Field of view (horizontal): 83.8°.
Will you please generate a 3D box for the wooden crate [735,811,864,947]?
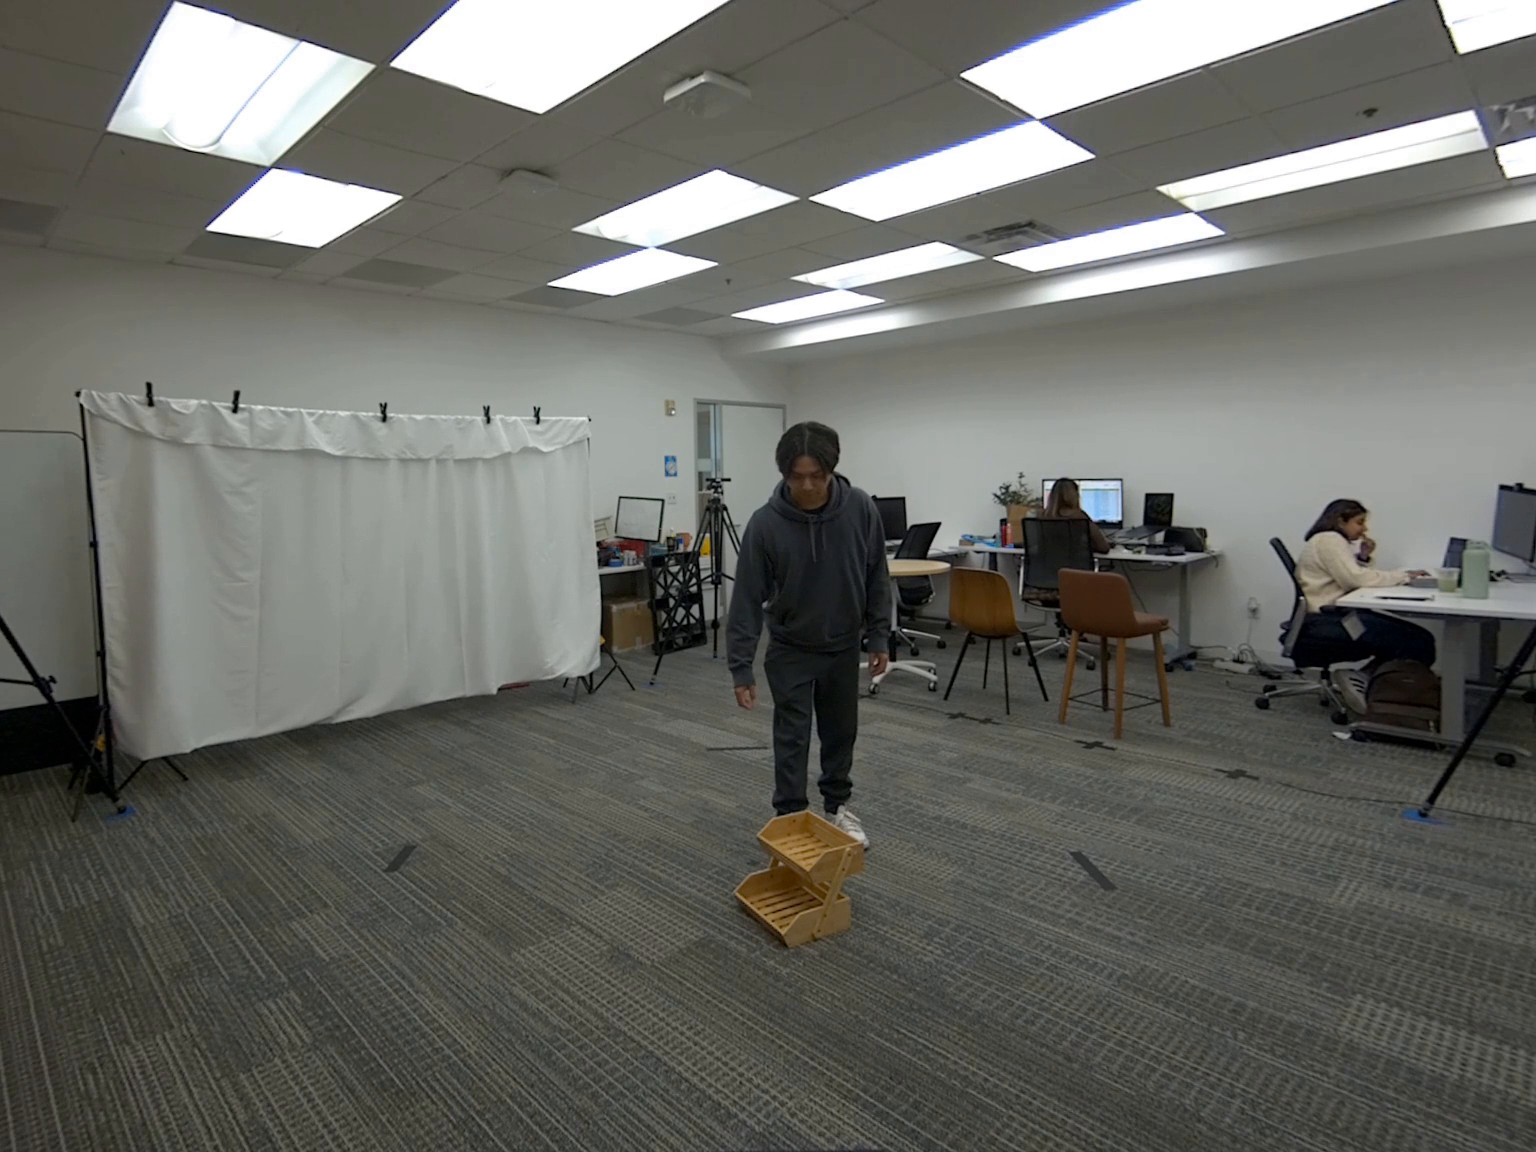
[{"bbox_3d":[0.091,0.953,2.727,0.295,0.272,0.334,-4,6,-31],"label":"wooden crate"}]
